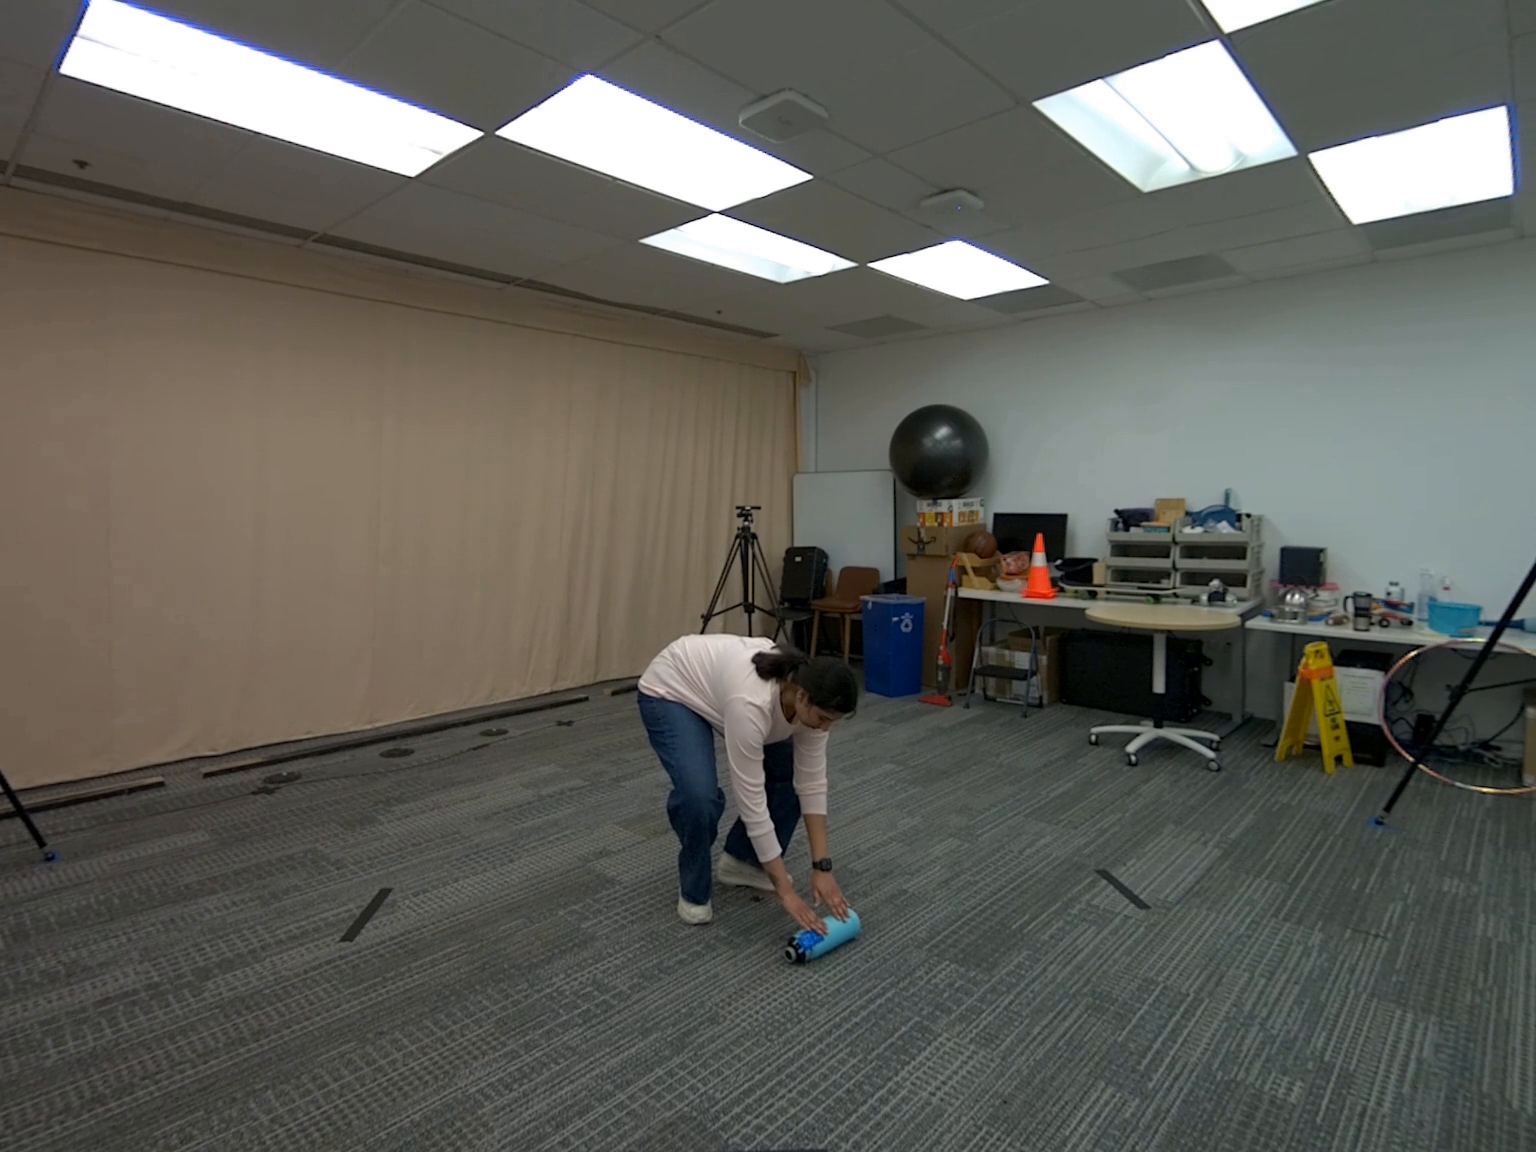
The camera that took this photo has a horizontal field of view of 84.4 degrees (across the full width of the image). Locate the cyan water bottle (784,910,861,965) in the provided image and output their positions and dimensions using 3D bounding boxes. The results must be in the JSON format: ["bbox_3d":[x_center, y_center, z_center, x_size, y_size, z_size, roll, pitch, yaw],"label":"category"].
[{"bbox_3d":[0.173,1.125,2.635,0.275,0.092,0.095,-4,5,-43],"label":"cyan water bottle"}]
